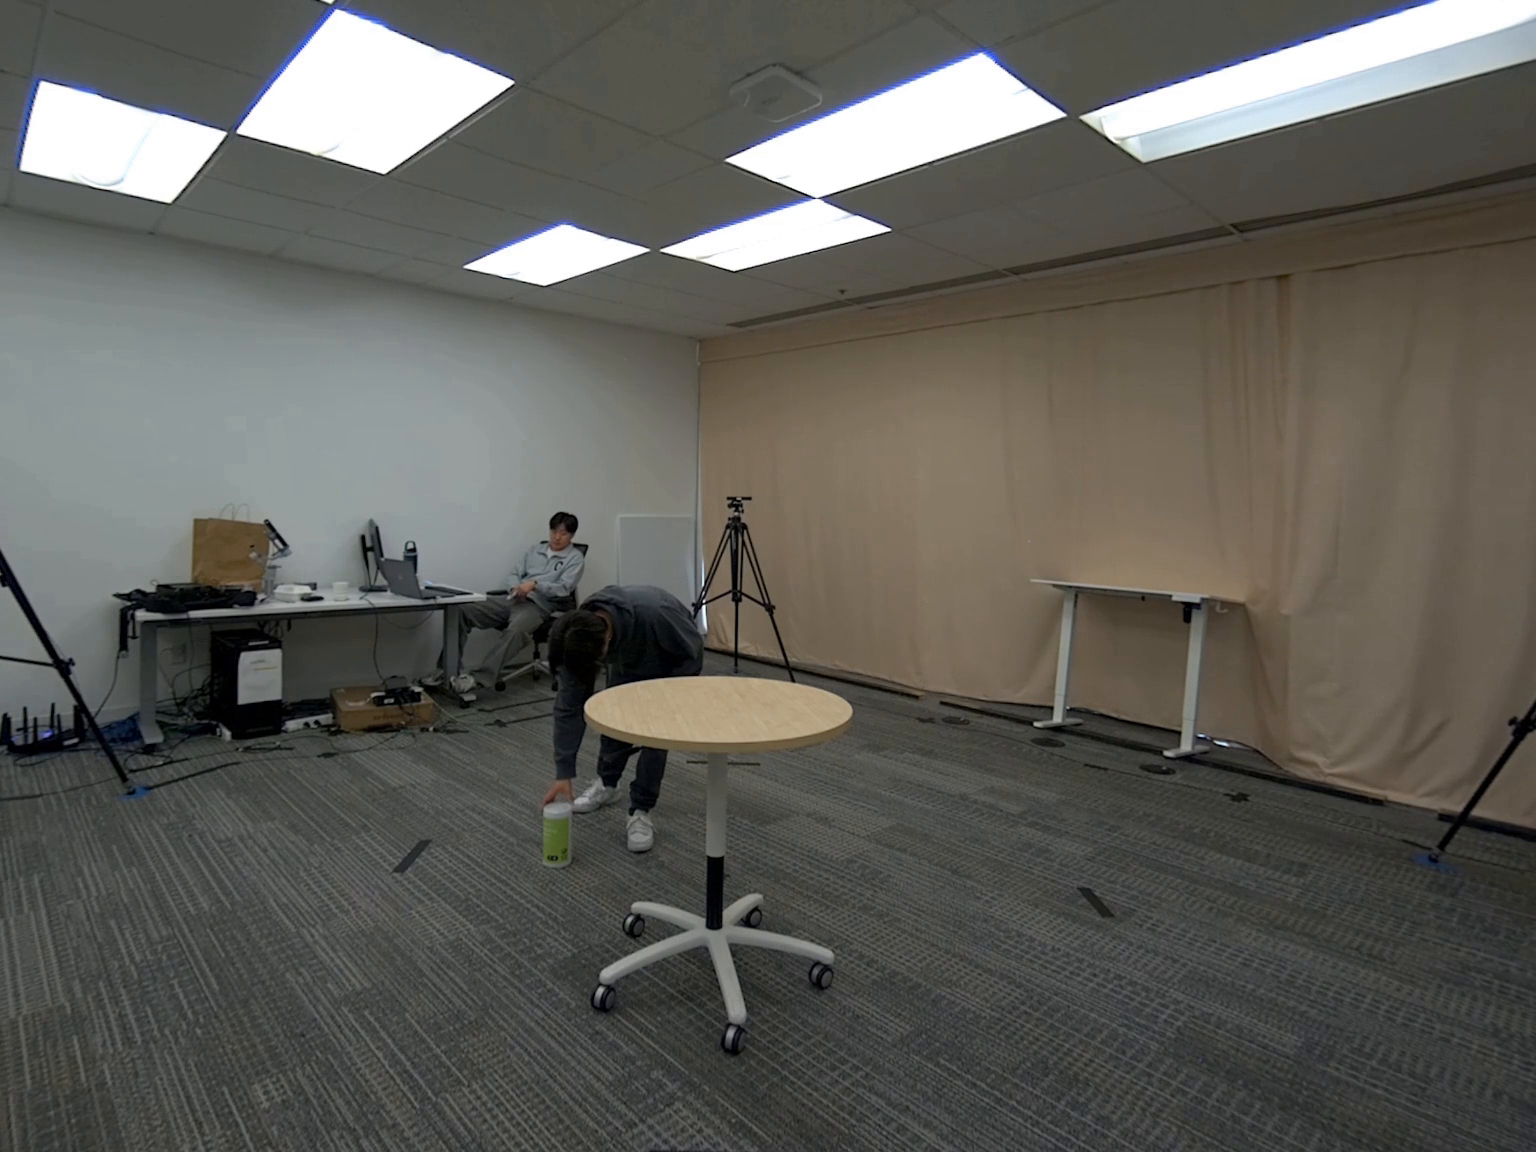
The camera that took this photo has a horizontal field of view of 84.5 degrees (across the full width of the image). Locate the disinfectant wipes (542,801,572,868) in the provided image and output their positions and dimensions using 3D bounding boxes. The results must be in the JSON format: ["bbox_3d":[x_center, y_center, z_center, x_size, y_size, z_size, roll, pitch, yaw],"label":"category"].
[{"bbox_3d":[-0.811,0.982,3.177,0.118,0.217,0.118,1,4,-1],"label":"disinfectant wipes"}]
